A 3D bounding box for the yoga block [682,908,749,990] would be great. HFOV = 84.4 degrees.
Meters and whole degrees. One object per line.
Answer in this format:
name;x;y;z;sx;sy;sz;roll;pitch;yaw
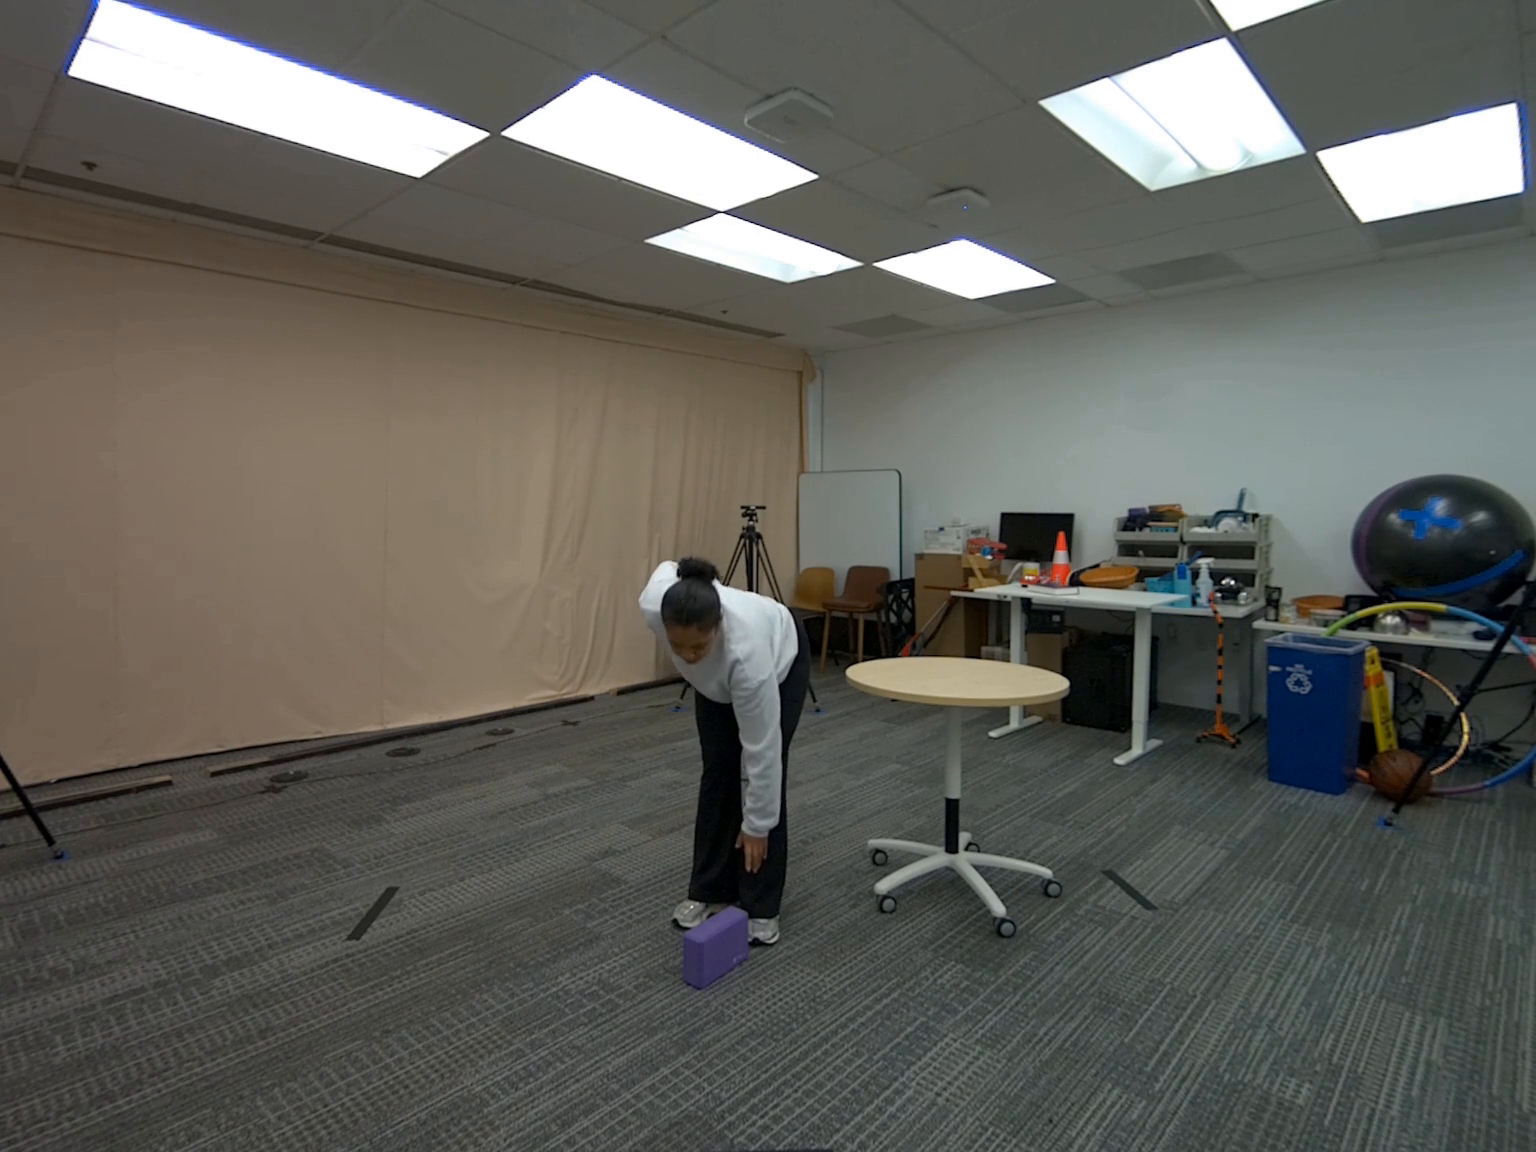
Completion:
yoga block;-0.154;1.102;2.521;0.079;0.148;0.223;2;6;36
